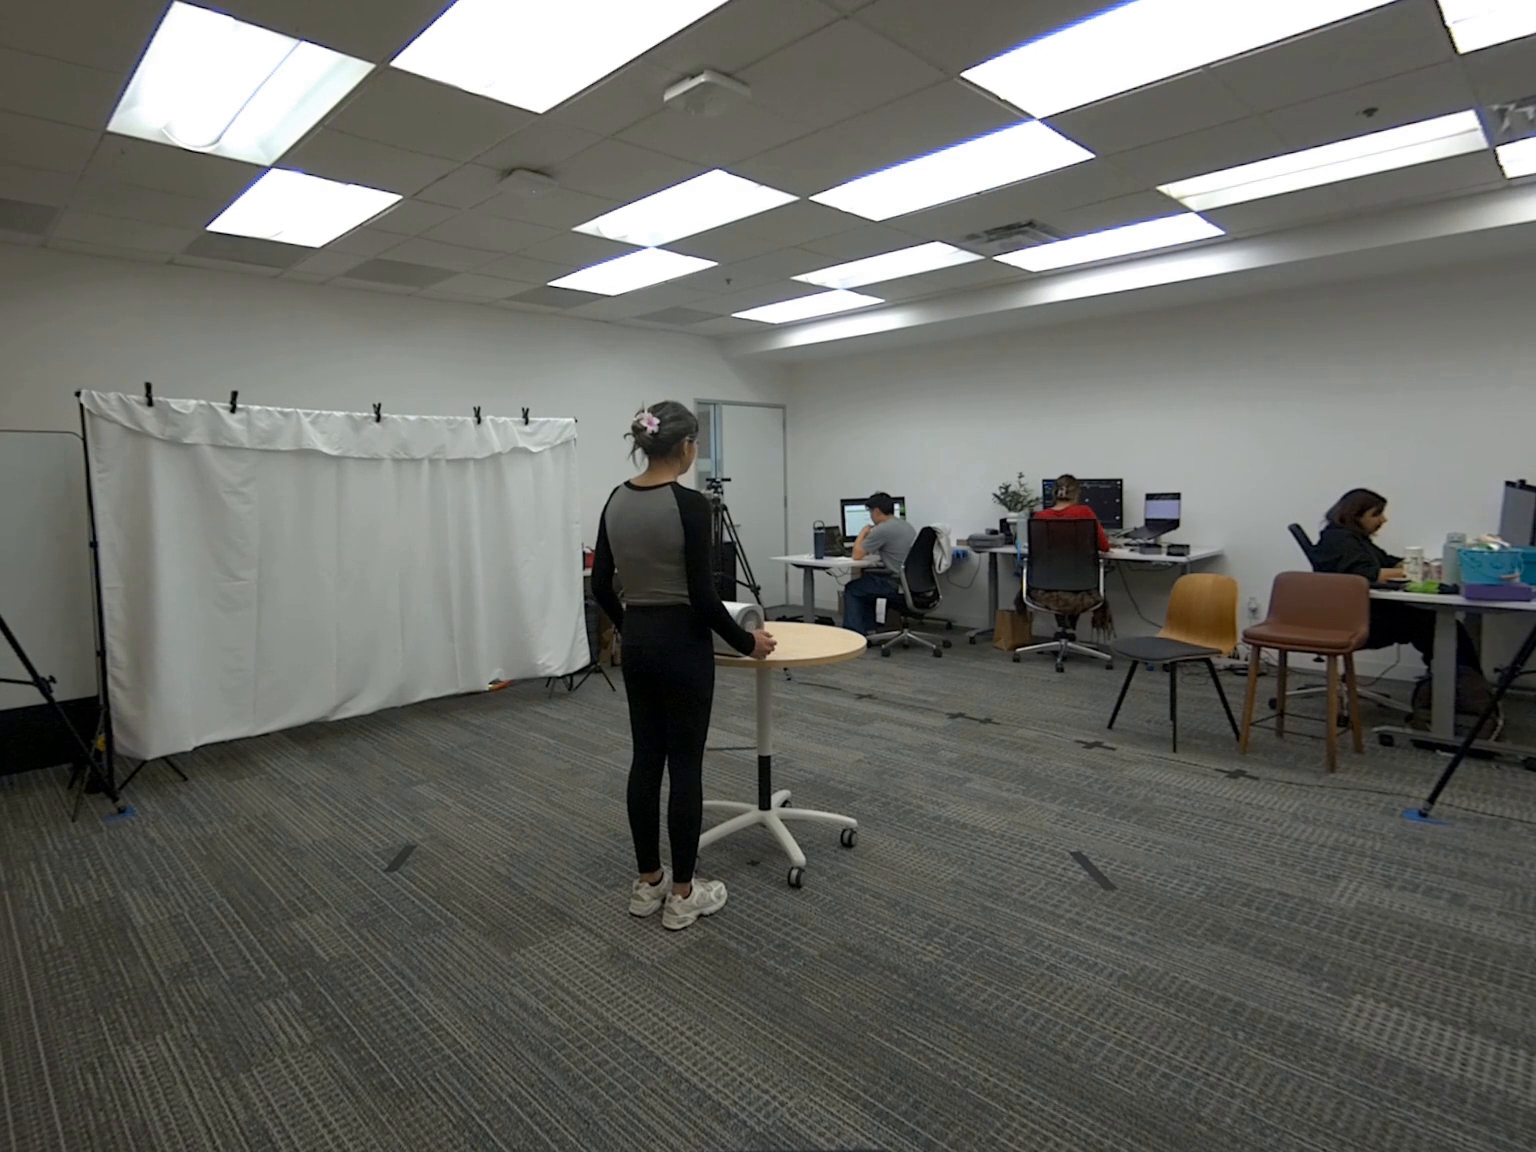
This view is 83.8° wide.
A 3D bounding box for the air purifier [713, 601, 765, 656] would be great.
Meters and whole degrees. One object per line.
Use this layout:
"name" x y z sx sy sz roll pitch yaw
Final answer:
"air purifier" -0.164 0.175 2.983 0.273 0.171 0.167 3 7 34
